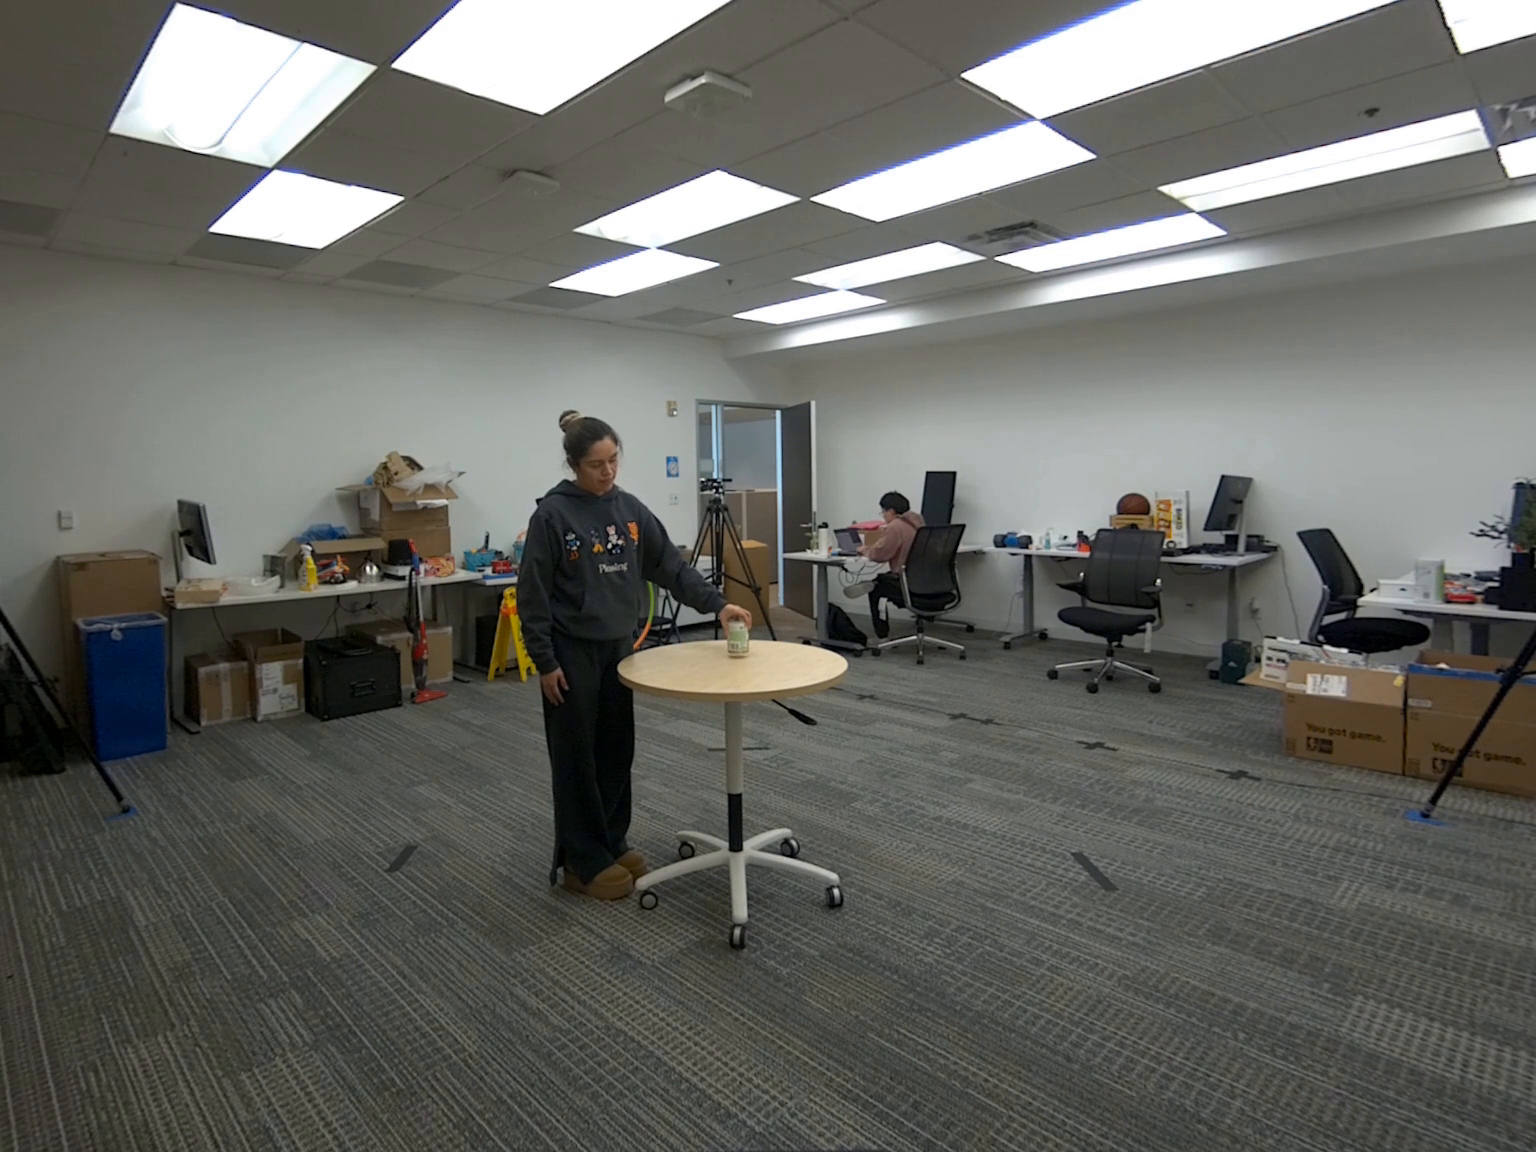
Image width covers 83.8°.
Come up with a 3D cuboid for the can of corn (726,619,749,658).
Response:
[{"bbox_3d":[-0.112,0.209,2.932,0.074,0.111,0.074,-1,1,-2],"label":"can of corn"}]
